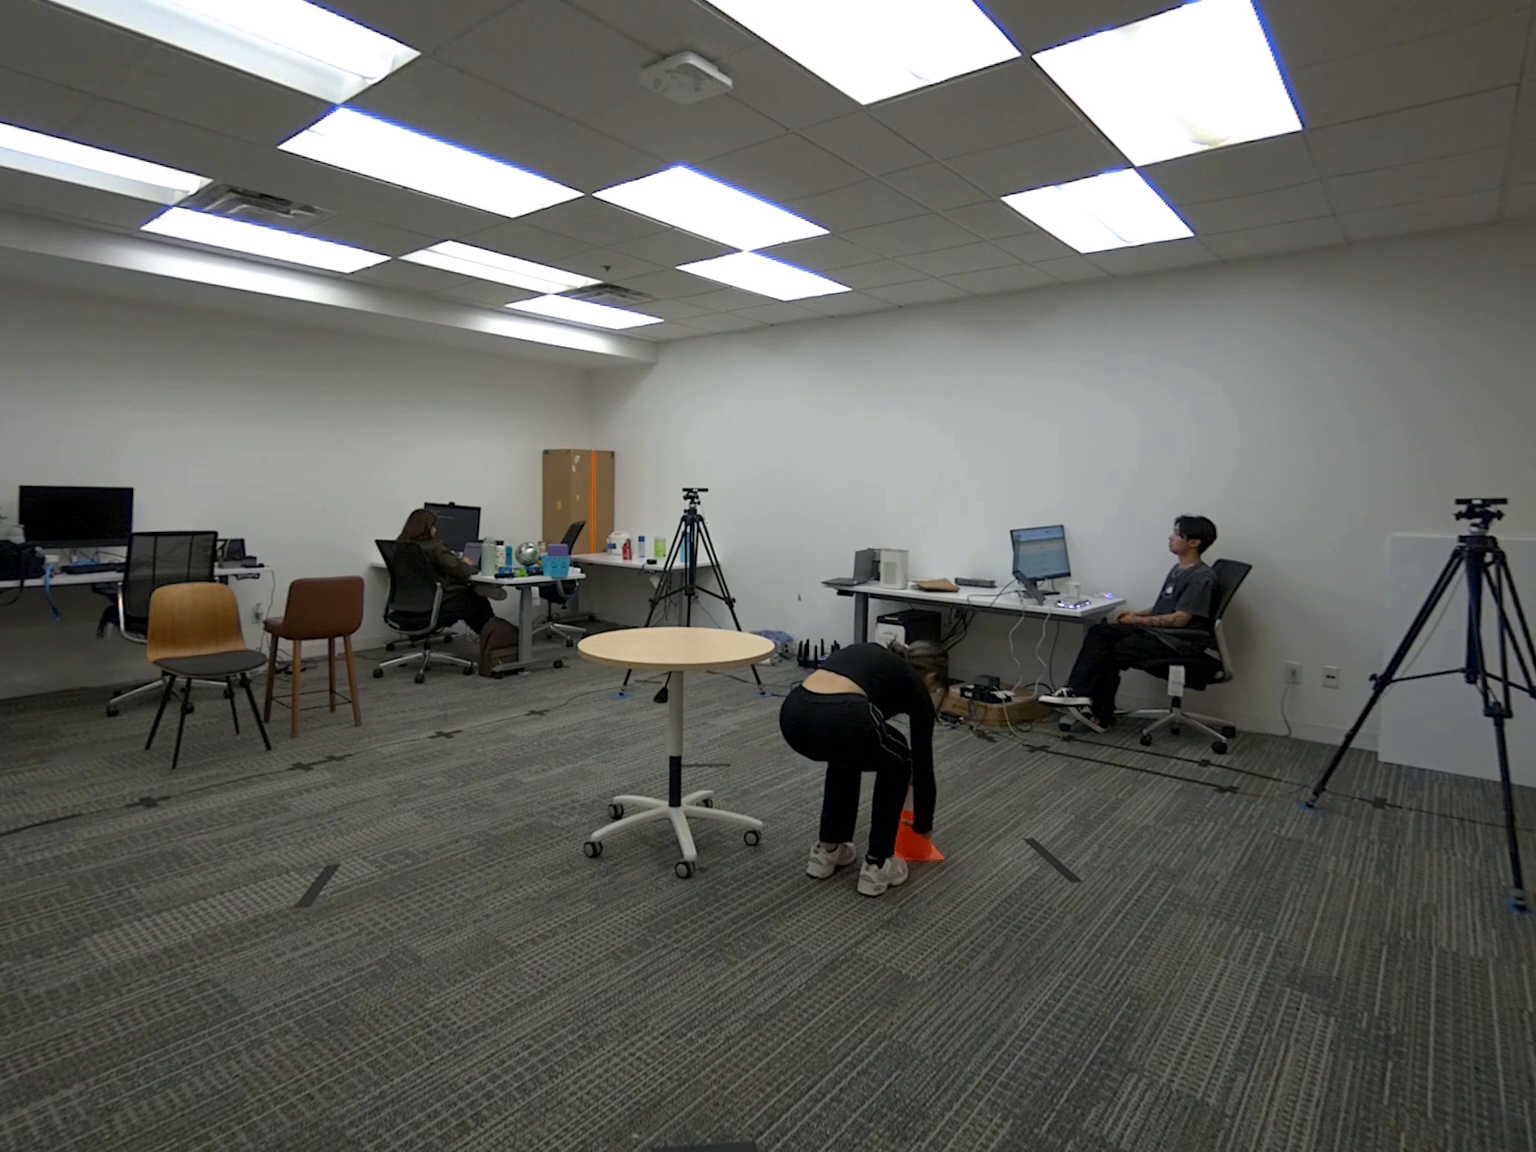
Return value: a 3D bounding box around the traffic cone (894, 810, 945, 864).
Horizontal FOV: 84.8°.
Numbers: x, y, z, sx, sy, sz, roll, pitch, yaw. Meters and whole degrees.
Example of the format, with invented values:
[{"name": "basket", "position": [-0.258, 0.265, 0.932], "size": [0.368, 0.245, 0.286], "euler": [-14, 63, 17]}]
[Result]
[{"name": "traffic cone", "position": [0.551, 0.886, 3.326], "size": [0.205, 0.384, 0.203], "euler": [-2, 0, -2]}]
